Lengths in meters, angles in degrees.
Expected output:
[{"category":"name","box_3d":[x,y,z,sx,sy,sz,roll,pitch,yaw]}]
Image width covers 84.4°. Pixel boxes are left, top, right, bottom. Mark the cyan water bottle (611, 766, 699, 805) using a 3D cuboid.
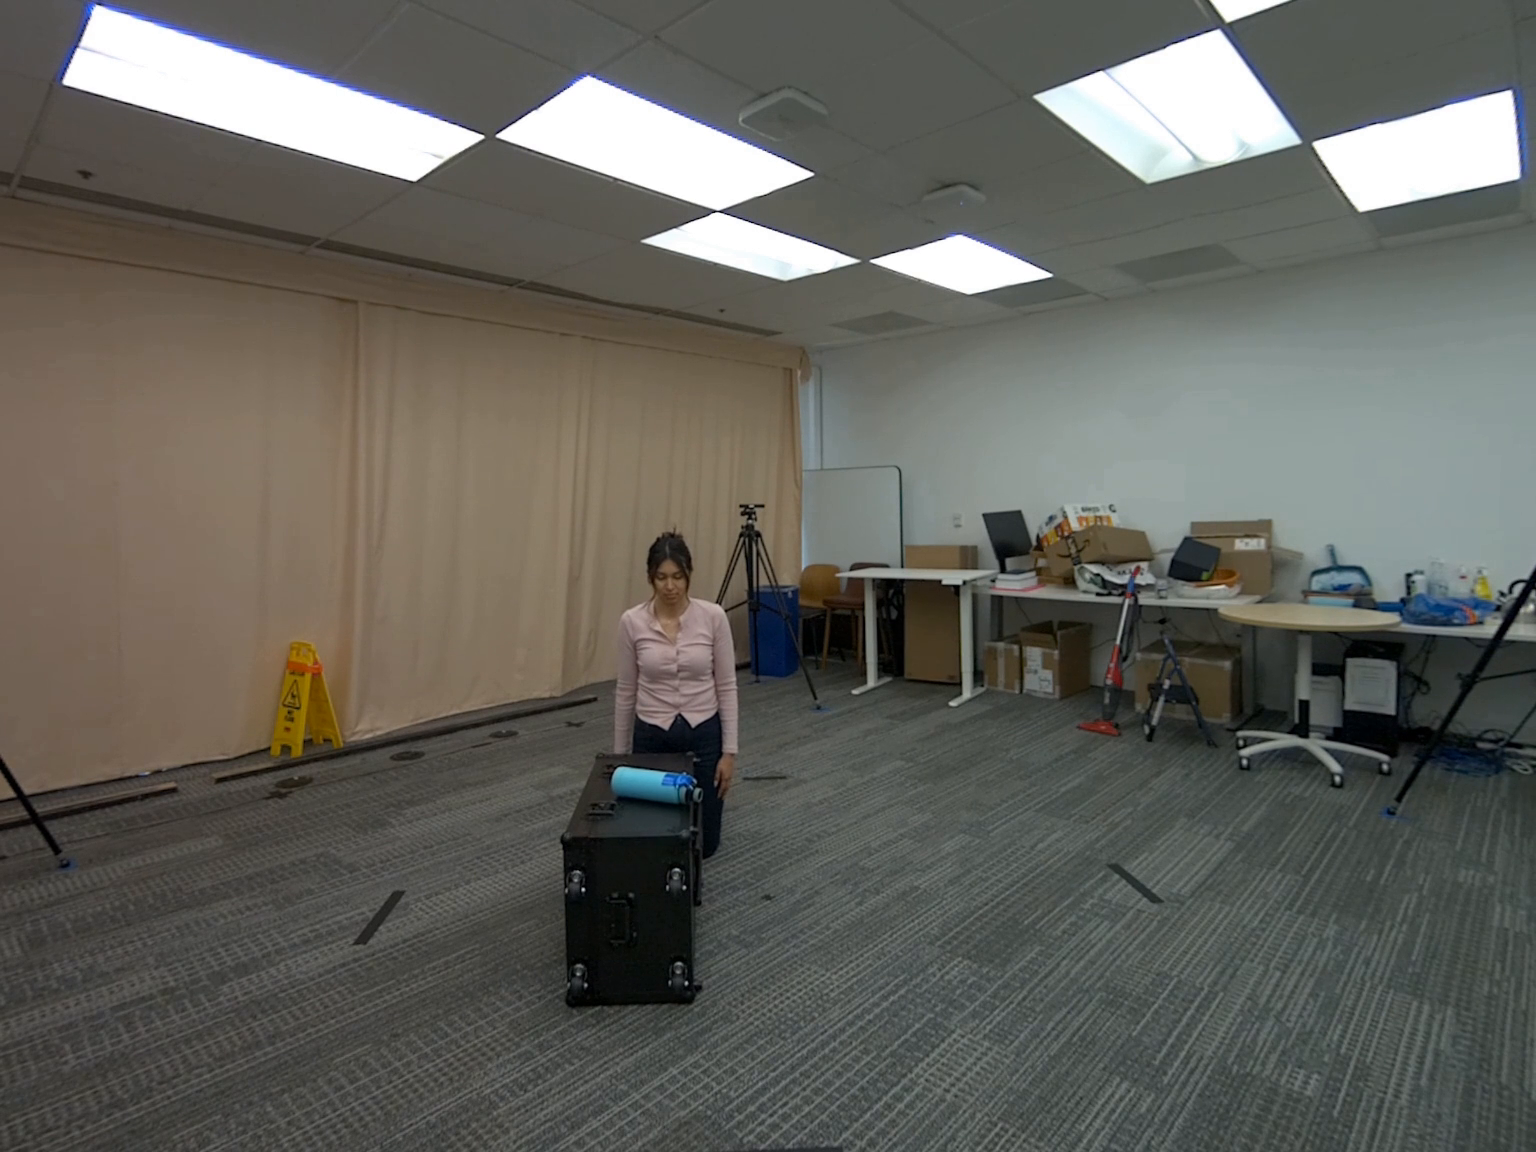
[{"category":"cyan water bottle","box_3d":[-0.344,0.646,2.604,0.290,0.092,0.090,0,4,24]}]
